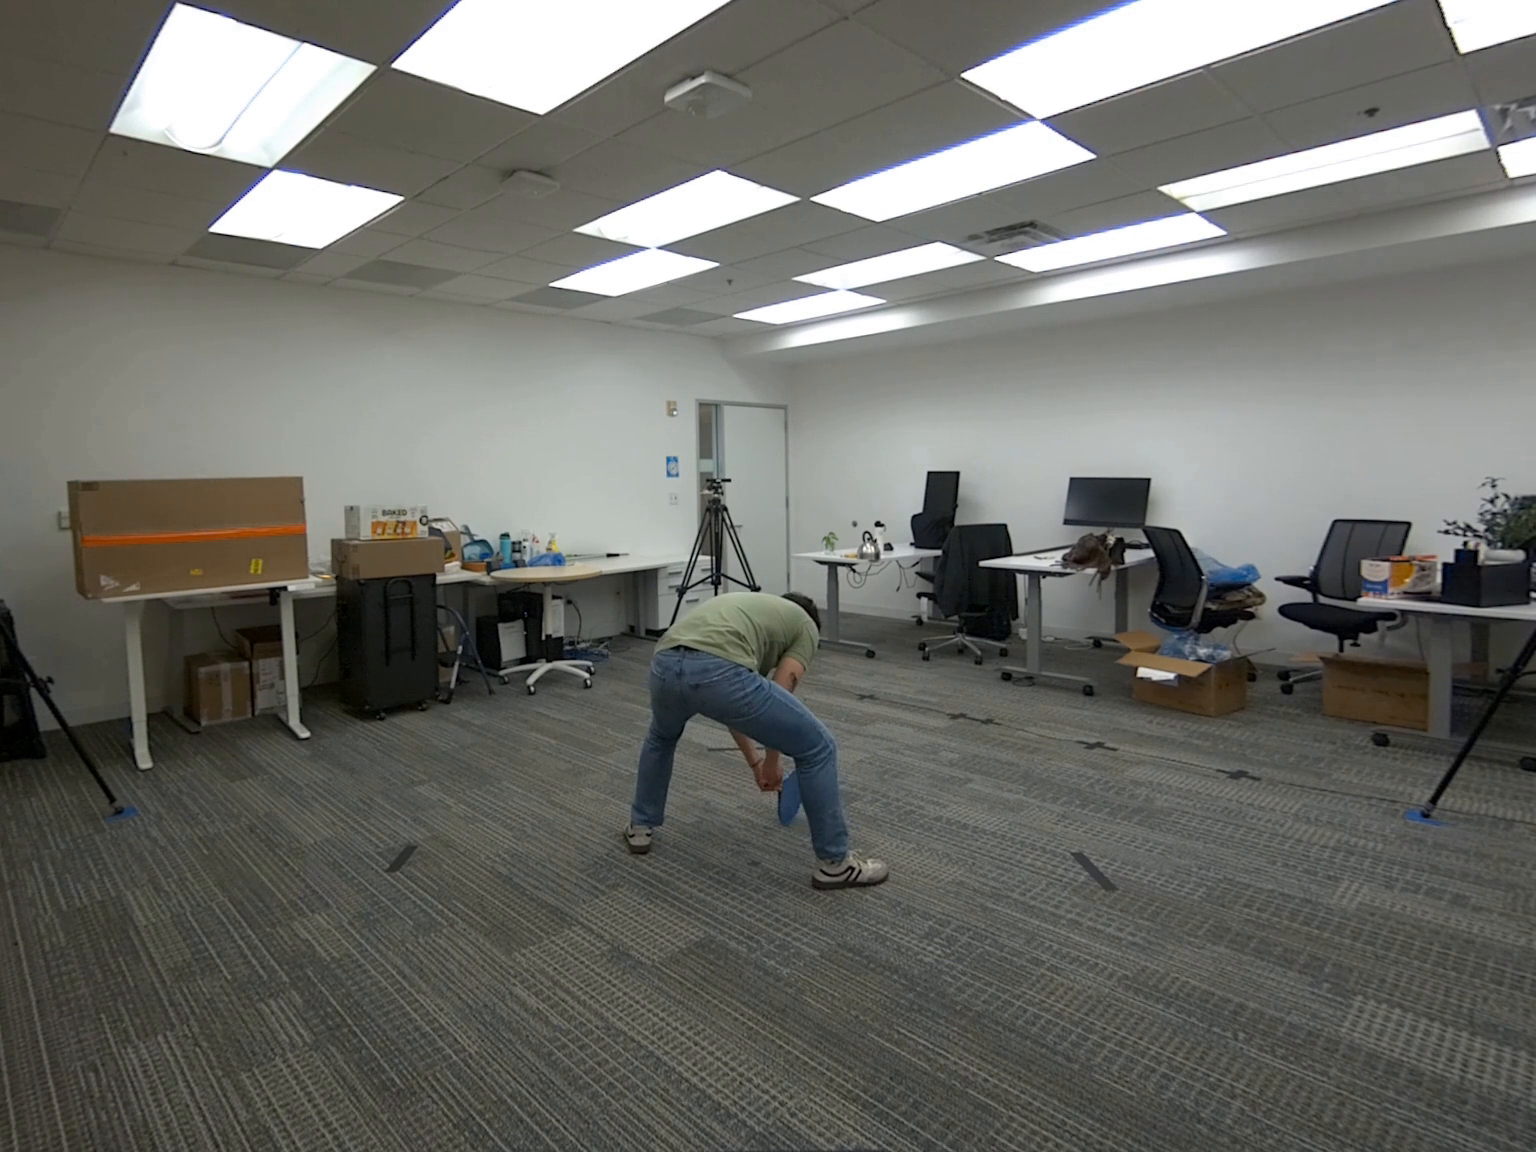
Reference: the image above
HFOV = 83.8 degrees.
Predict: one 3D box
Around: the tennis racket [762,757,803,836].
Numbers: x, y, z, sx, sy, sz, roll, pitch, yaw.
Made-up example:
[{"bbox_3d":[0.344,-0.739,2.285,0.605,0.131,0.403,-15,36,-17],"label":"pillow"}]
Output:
[{"bbox_3d":[0.073,0.866,3.354,0.032,0.216,0.418,9,-23,20],"label":"tennis racket"}]
